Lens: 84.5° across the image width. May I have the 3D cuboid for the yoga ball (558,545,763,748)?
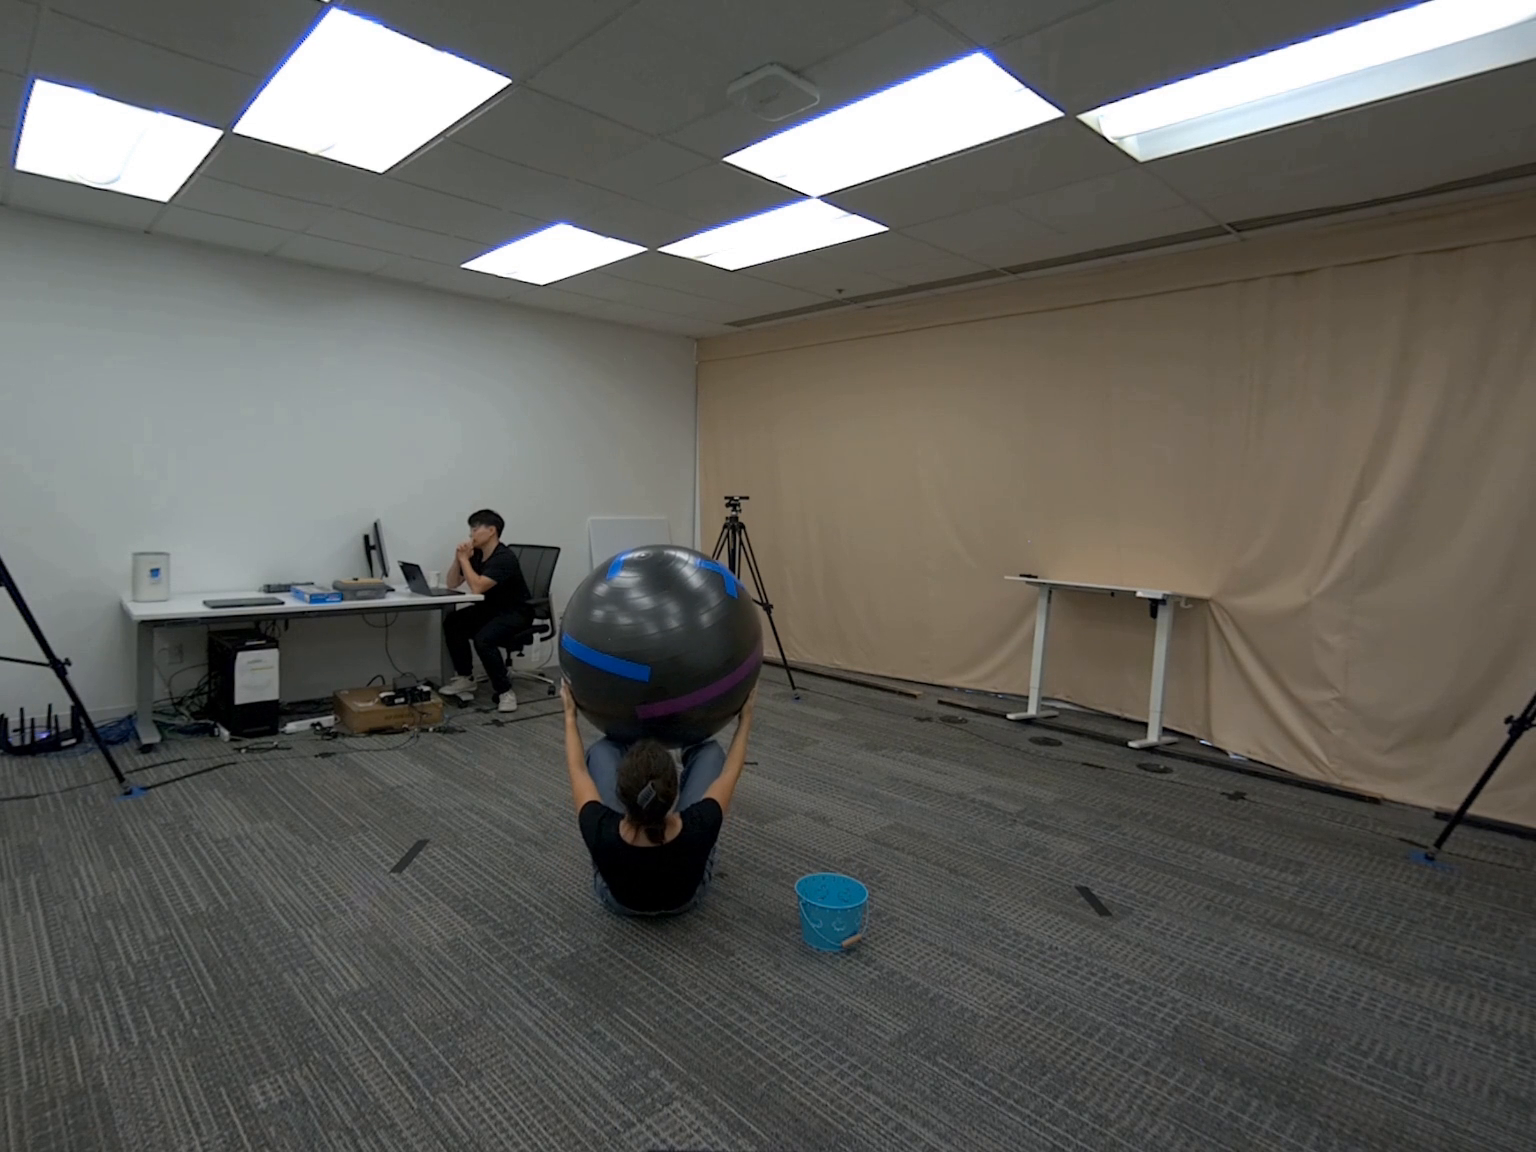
[{"bbox_3d":[-0.409,0.270,3.131,0.757,0.756,0.761,1,4,-1],"label":"yoga ball"}]
